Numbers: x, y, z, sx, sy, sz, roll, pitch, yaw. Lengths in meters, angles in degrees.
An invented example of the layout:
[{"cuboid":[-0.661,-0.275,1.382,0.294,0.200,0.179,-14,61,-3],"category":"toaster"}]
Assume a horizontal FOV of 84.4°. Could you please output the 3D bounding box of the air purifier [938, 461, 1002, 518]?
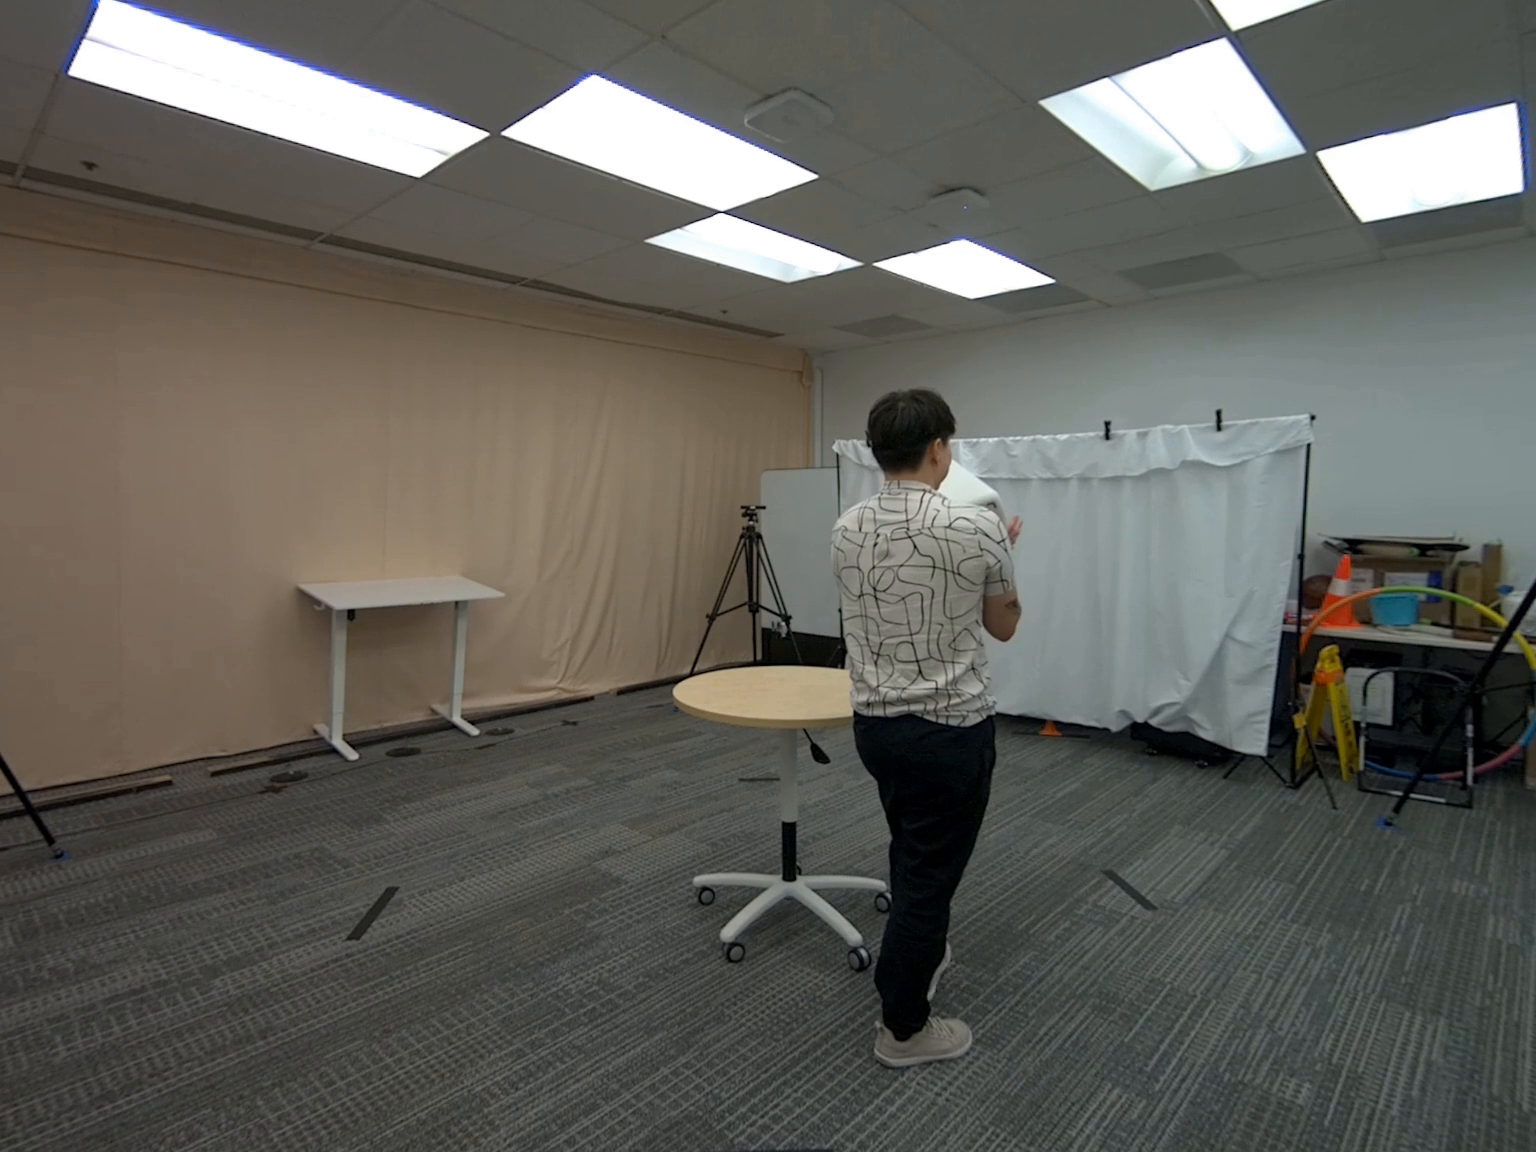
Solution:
[{"cuboid":[0.560,-0.211,2.430,0.170,0.167,0.273,-24,30,-5],"category":"air purifier"}]
